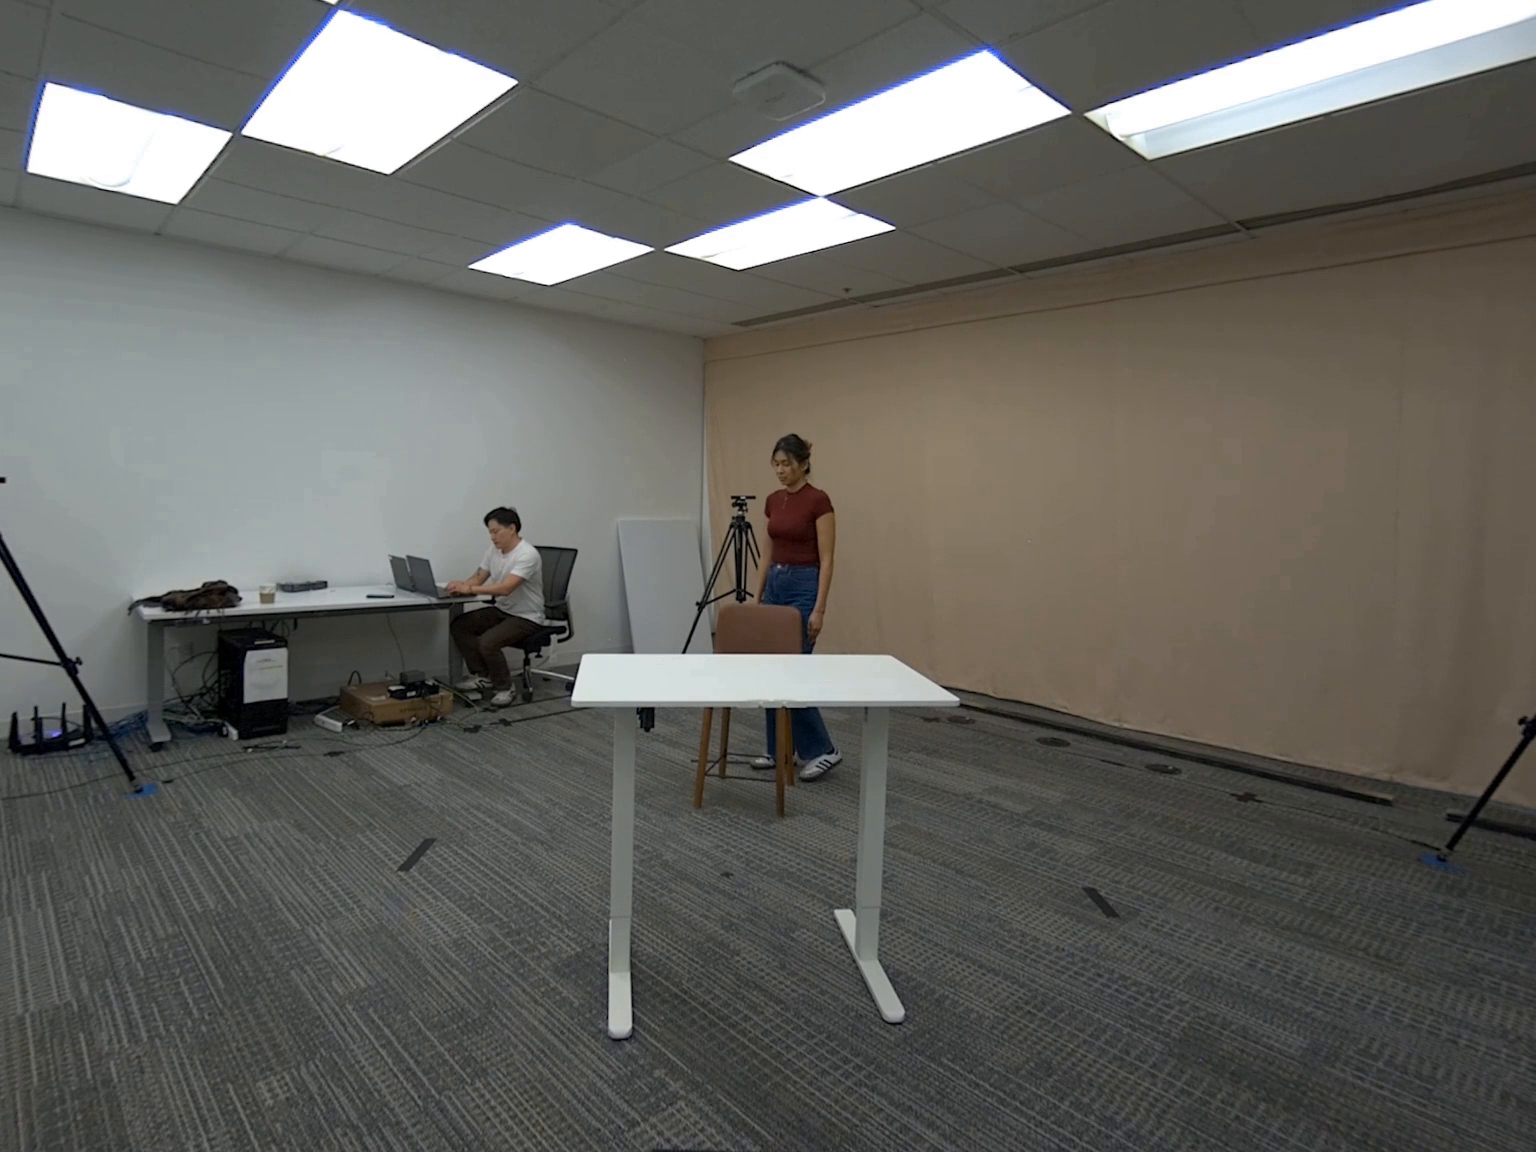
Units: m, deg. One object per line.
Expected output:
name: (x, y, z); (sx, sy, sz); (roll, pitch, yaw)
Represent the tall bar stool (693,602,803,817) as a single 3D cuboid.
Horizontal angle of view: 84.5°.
tall bar stool: (-0.089, 0.597, 3.933); (0.461, 0.889, 0.463); (2, 1, 11)
